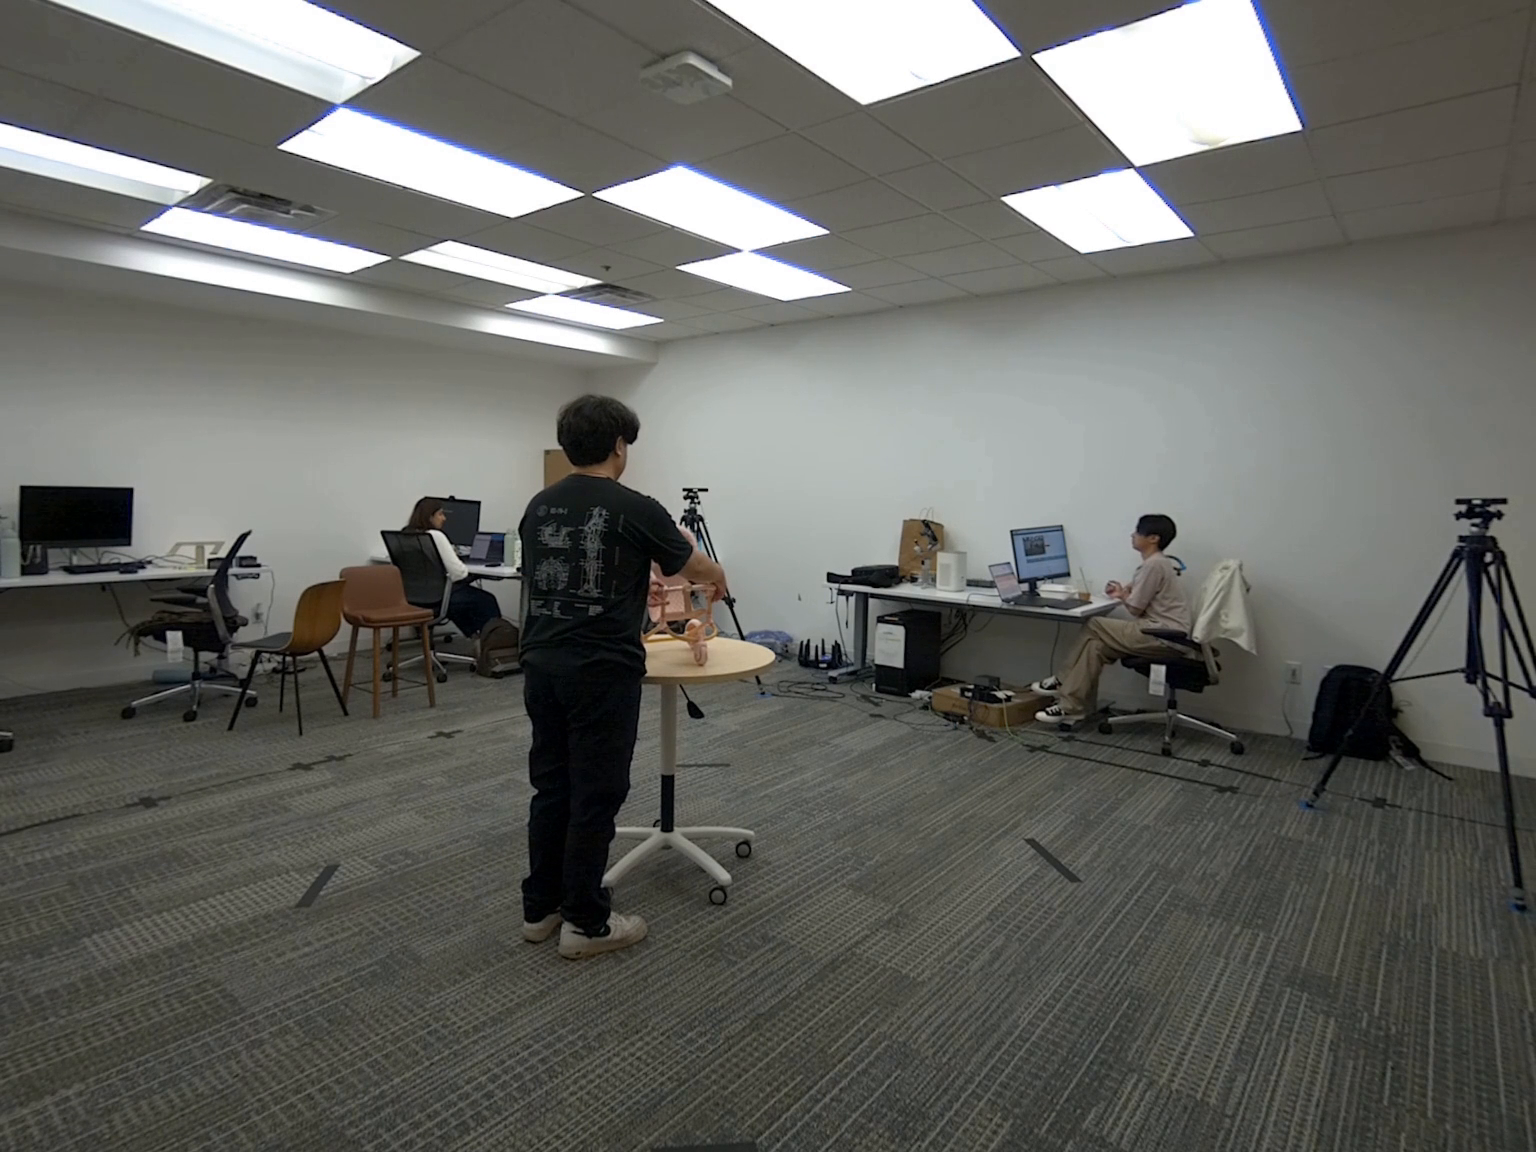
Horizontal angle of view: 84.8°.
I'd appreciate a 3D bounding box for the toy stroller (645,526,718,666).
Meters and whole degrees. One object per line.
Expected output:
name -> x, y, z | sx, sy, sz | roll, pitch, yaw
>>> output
toy stroller -> -0.342, 0.054, 3.020 | 0.274, 0.539, 0.348 | -2, -8, -31
